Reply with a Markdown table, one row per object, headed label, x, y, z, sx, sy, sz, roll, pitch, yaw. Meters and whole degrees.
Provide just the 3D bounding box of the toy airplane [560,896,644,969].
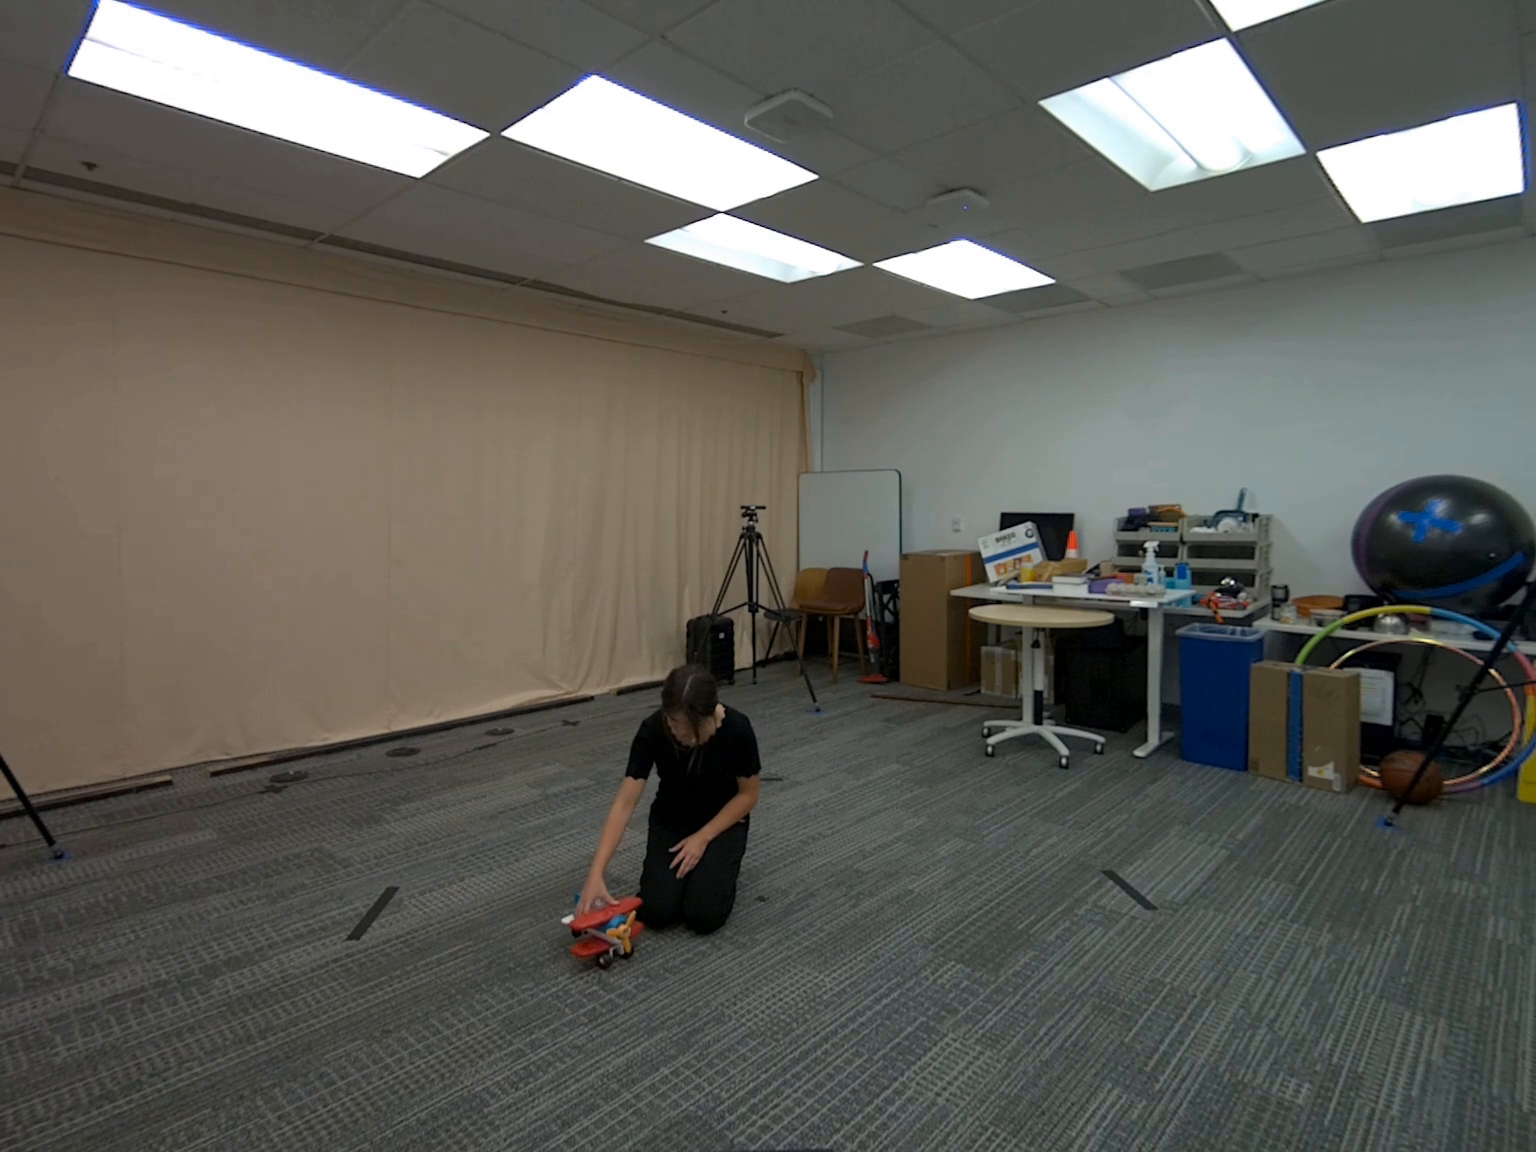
| label | x | y | z | sx | sy | sz | roll | pitch | yaw |
| --- | --- | --- | --- | --- | --- | --- | --- | --- | --- |
| toy airplane | -0.535 | 1.096 | 2.603 | 0.264 | 0.156 | 0.248 | 8 | 10 | 15 |
